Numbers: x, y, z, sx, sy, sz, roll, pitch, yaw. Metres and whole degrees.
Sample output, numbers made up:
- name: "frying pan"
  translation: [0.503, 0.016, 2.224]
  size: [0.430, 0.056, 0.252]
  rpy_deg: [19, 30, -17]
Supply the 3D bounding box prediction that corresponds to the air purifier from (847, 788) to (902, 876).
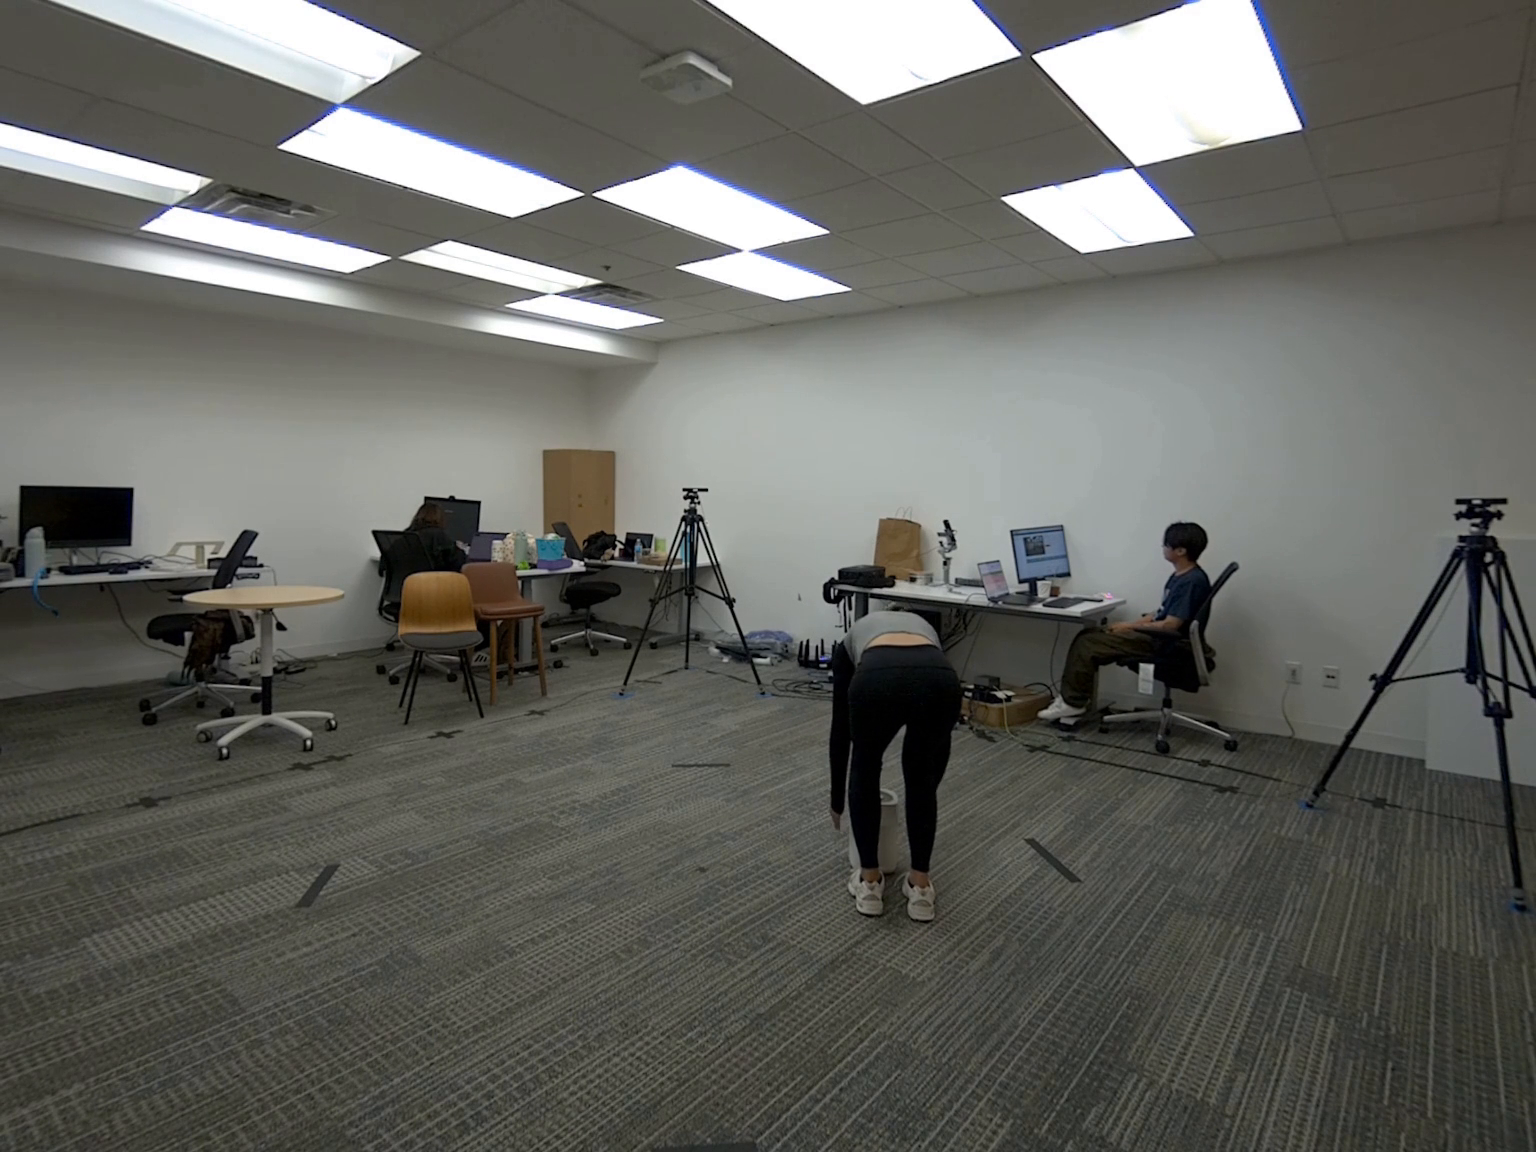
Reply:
- name: "air purifier"
  translation: [0.387, 0.939, 3.156]
  size: [0.172, 0.265, 0.171]
  rpy_deg: [2, 3, 1]
